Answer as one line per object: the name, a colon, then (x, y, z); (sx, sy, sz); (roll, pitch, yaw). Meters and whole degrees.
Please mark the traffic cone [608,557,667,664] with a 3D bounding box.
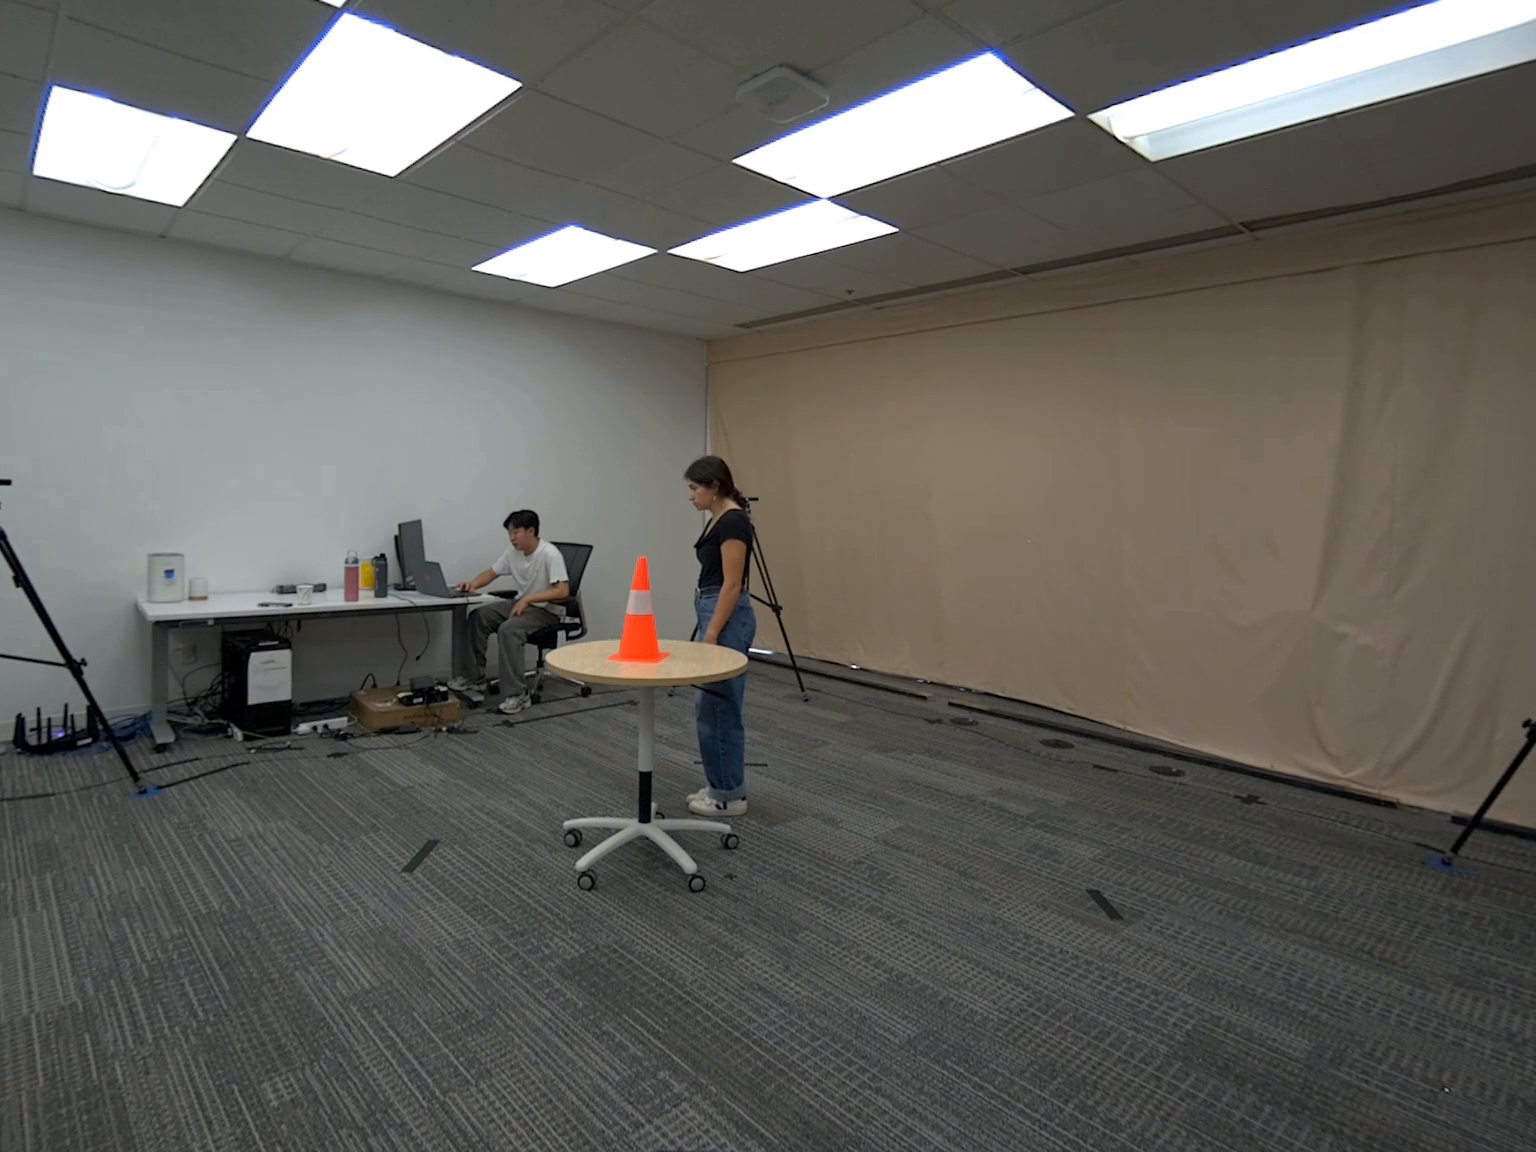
traffic cone: (-0.493, 0.125, 3.192); (0.204, 0.383, 0.204); (3, 3, 6)
